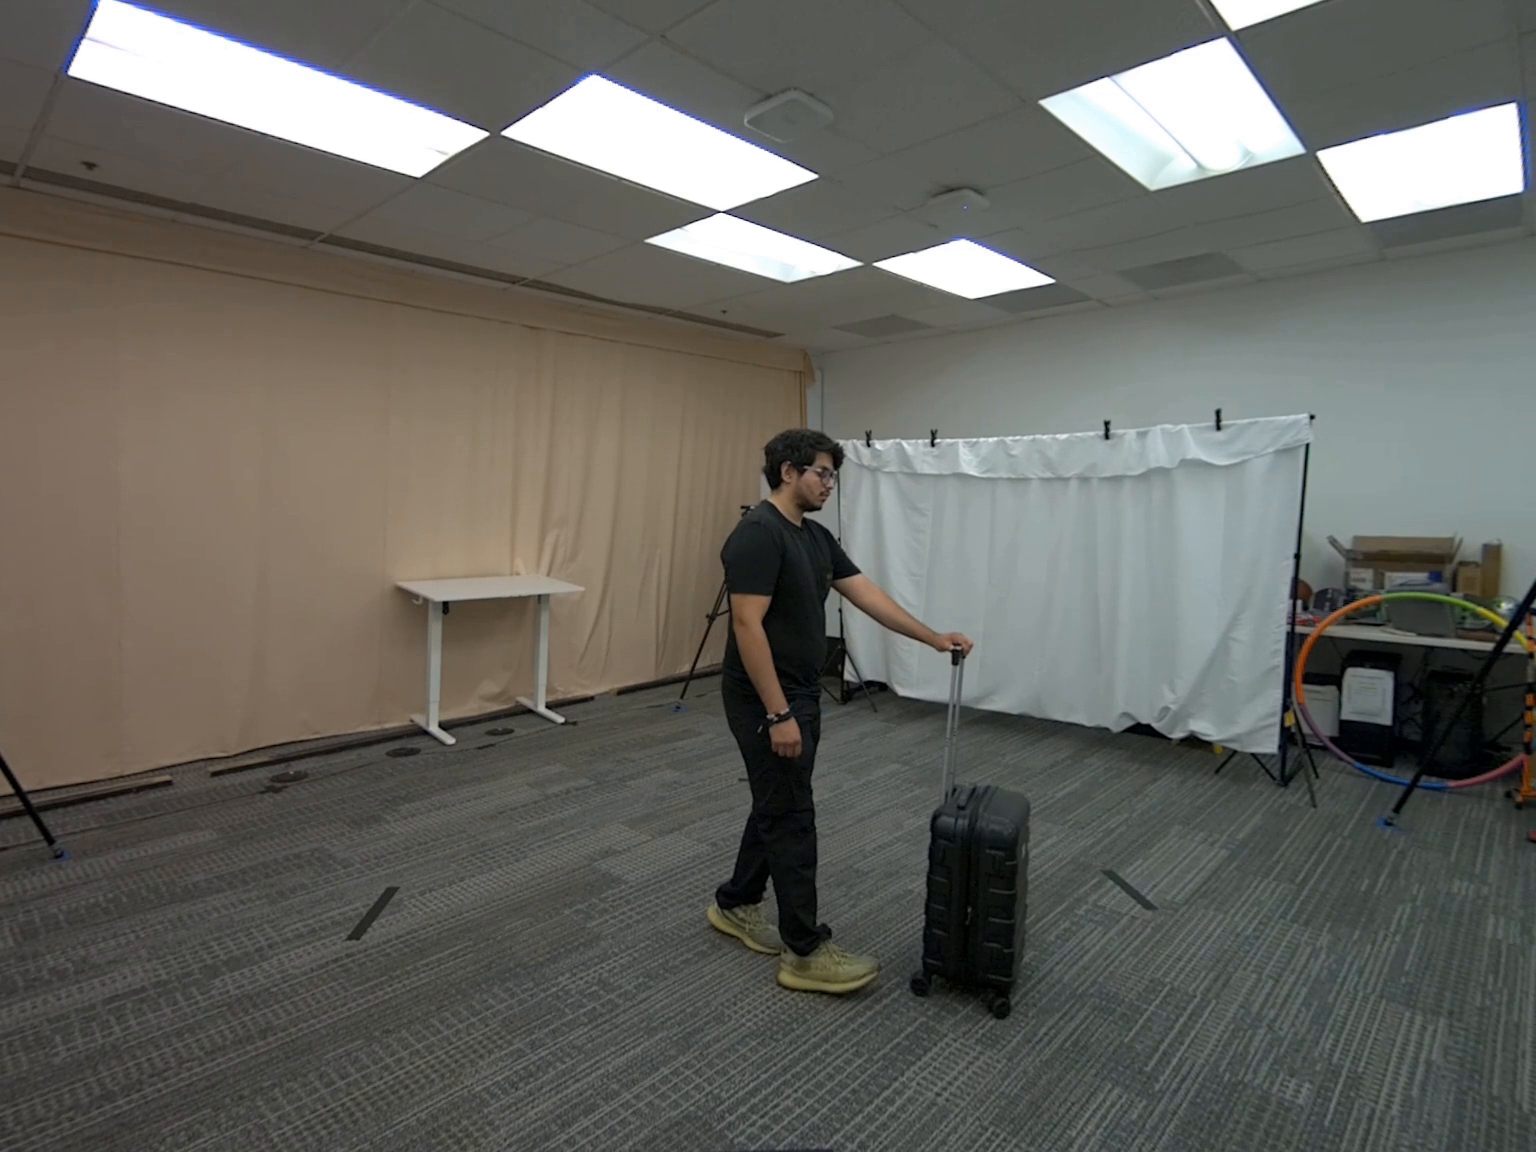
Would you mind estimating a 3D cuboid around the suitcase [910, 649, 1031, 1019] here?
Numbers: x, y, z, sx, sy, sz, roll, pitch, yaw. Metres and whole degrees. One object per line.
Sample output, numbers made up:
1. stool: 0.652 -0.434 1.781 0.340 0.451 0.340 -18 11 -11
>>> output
1. suitcase: 0.642 0.715 2.446 0.263 0.976 0.375 6 5 23
